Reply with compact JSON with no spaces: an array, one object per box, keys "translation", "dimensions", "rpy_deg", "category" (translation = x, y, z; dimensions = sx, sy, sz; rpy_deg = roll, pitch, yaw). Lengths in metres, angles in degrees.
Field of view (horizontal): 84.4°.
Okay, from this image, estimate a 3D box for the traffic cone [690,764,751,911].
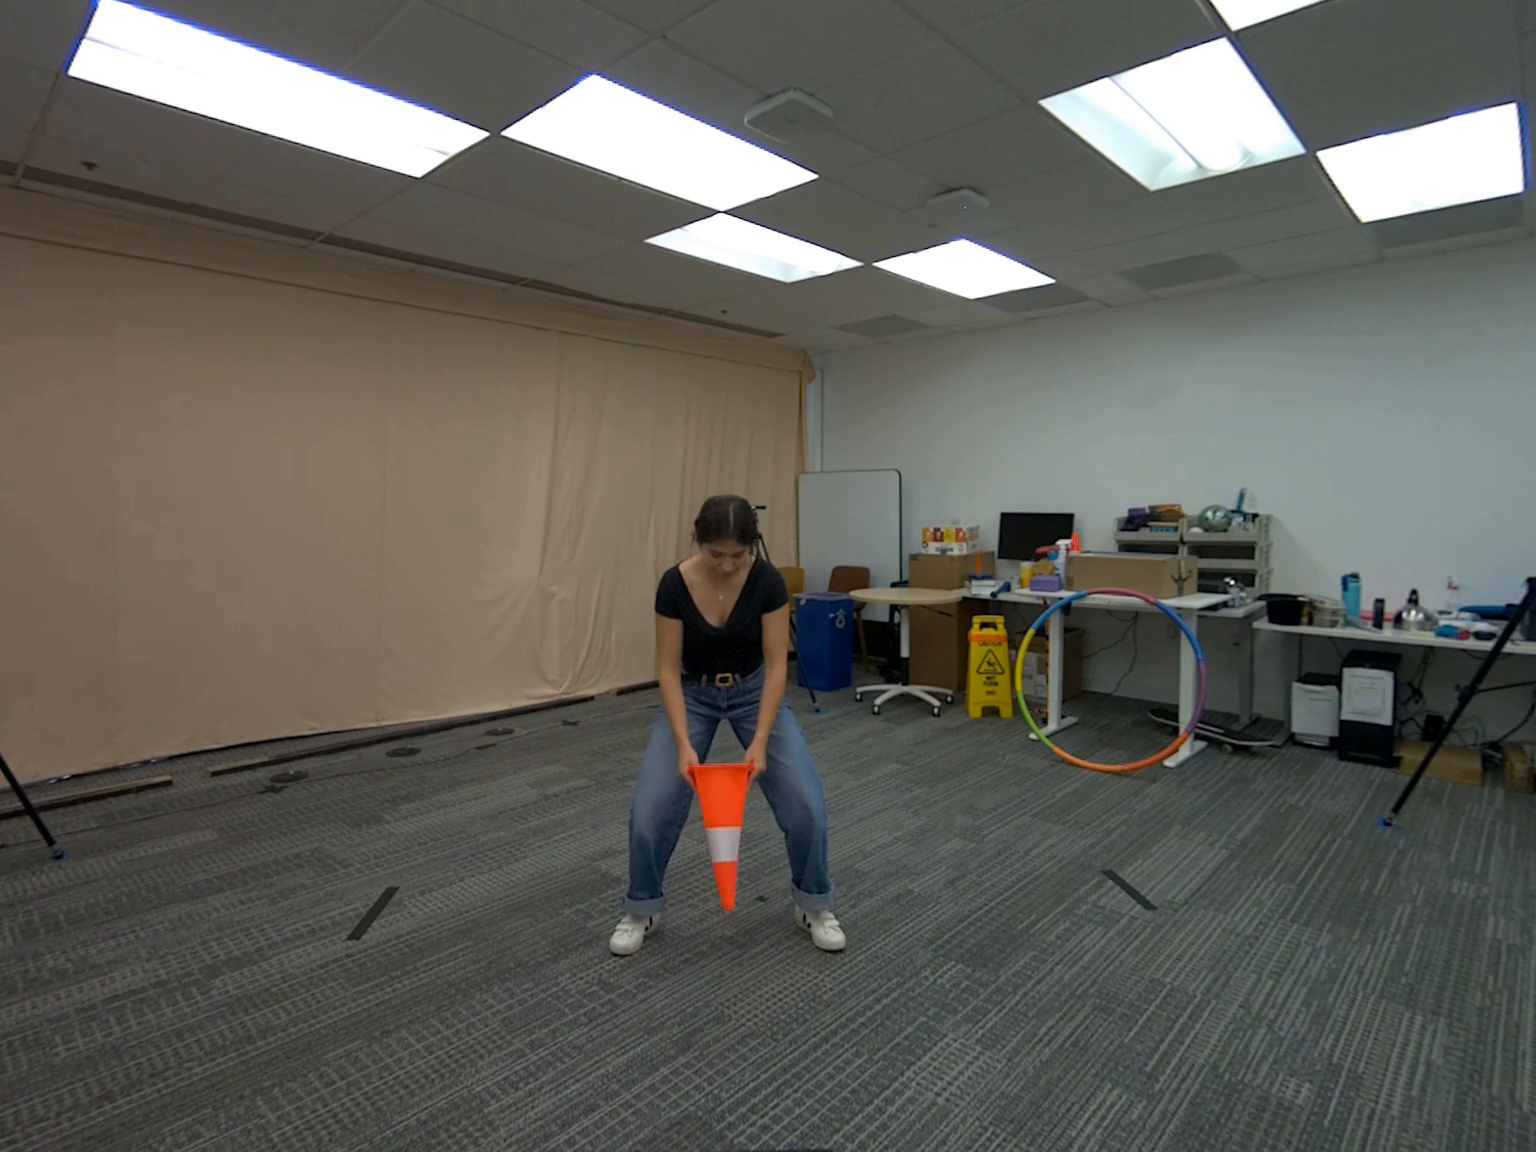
[{"translation":[-0.113,0.751,2.374],"dimensions":[0.204,0.389,0.201],"rpy_deg":[-7,-21,1],"category":"traffic cone"}]
